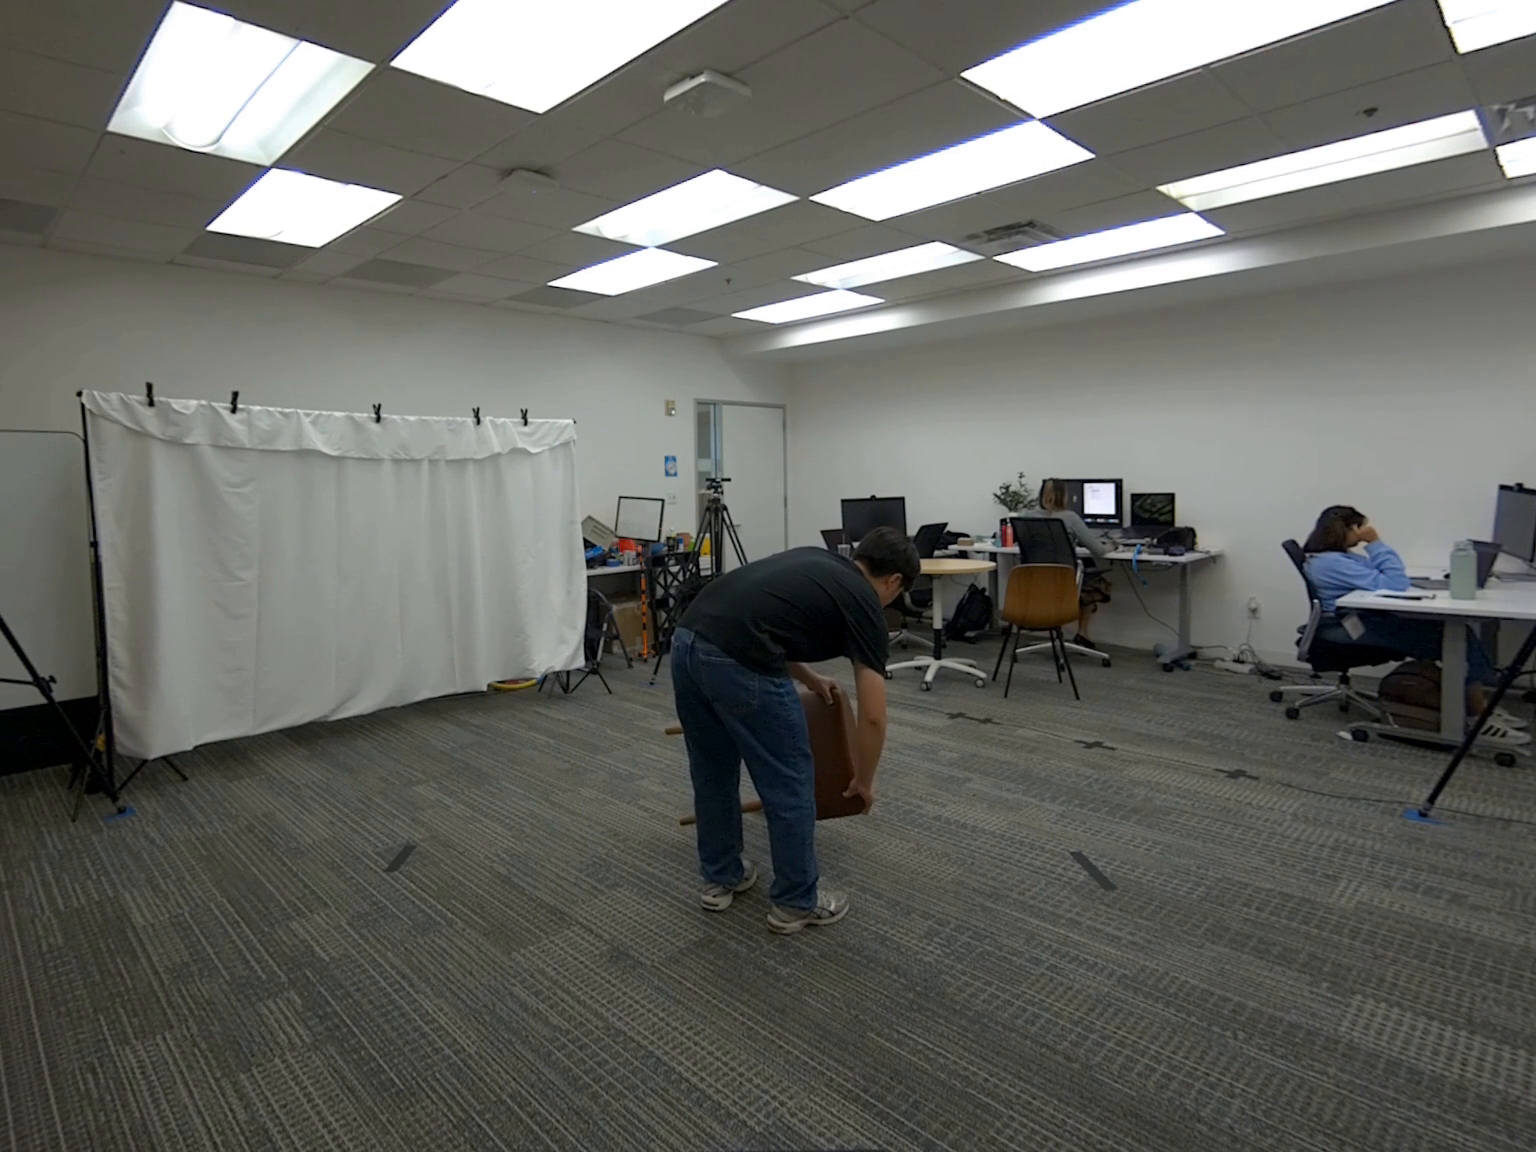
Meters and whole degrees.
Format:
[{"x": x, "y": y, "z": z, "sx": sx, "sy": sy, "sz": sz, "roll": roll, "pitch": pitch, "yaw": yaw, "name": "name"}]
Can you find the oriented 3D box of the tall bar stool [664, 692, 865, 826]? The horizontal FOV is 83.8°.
[{"x": 0.090, "y": 0.680, "z": 3.230, "sx": 0.905, "sy": 0.463, "sz": 0.453, "roll": -20, "pitch": -16, "yaw": 39, "name": "tall bar stool"}]
